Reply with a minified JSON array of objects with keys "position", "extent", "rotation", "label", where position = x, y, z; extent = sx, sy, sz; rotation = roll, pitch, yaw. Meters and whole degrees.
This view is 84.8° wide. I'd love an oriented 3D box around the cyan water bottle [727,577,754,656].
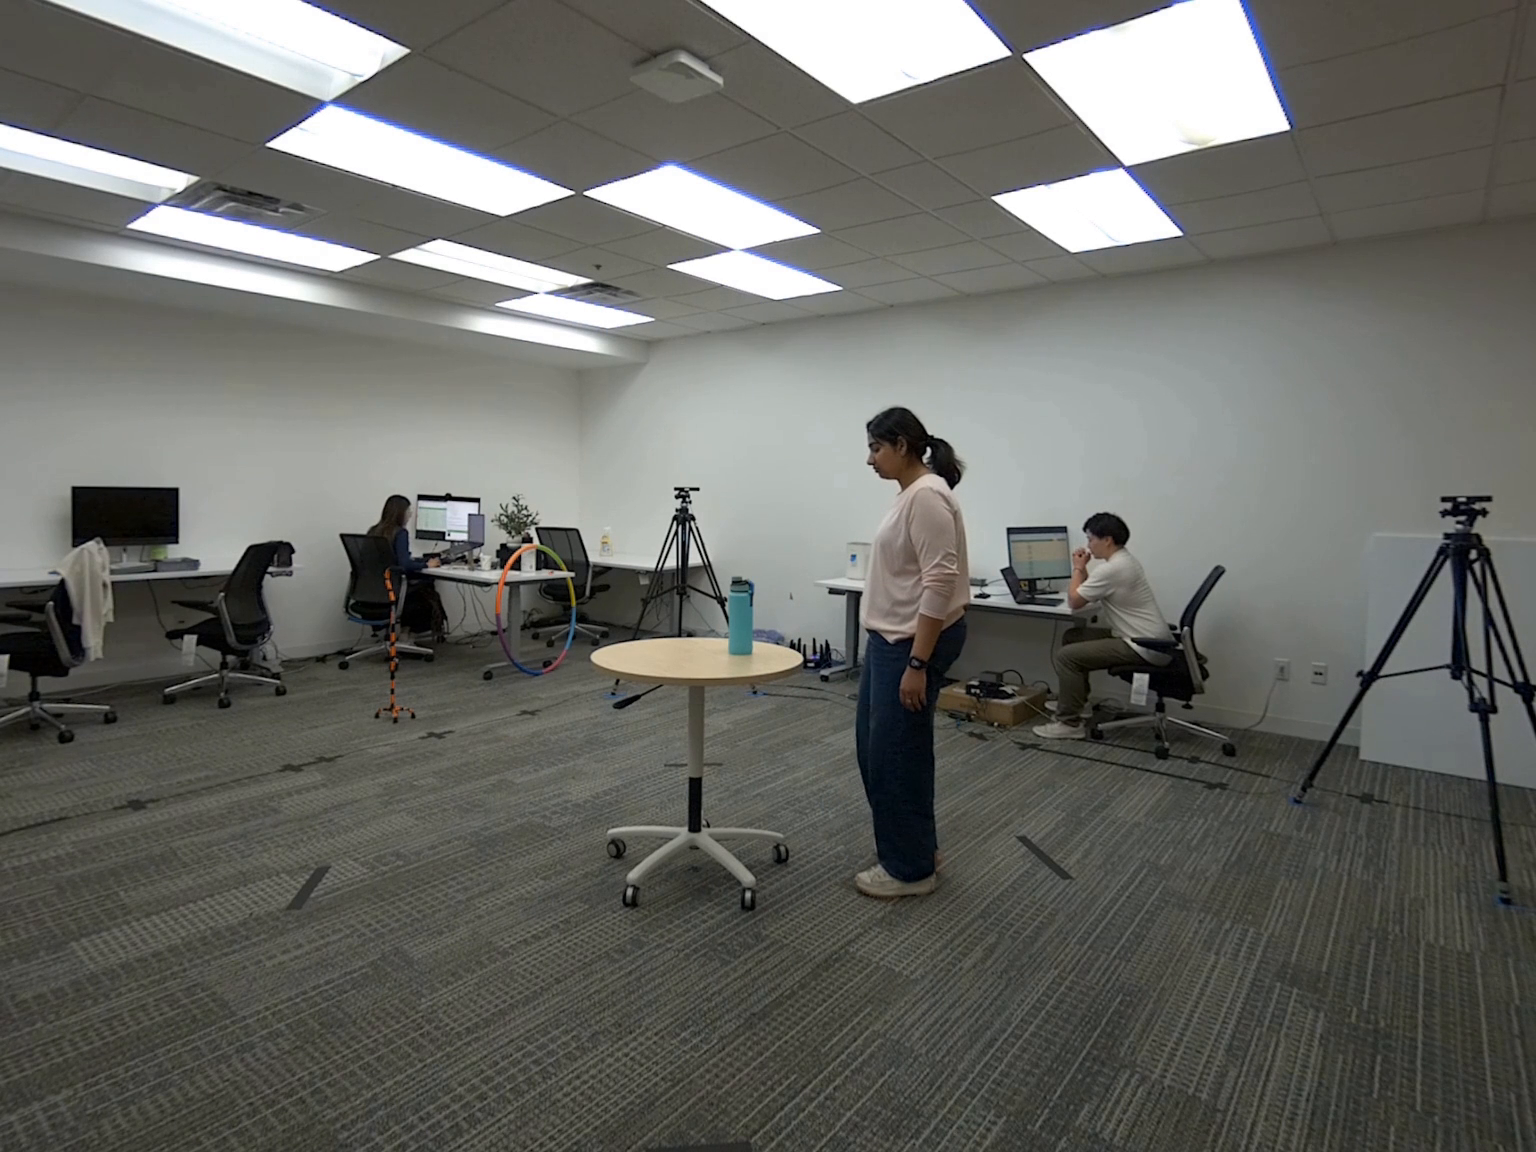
[{"position":[-0.102,0.143,3.140],"extent":[0.092,0.283,0.092],"rotation":[6,1,-2],"label":"cyan water bottle"}]
